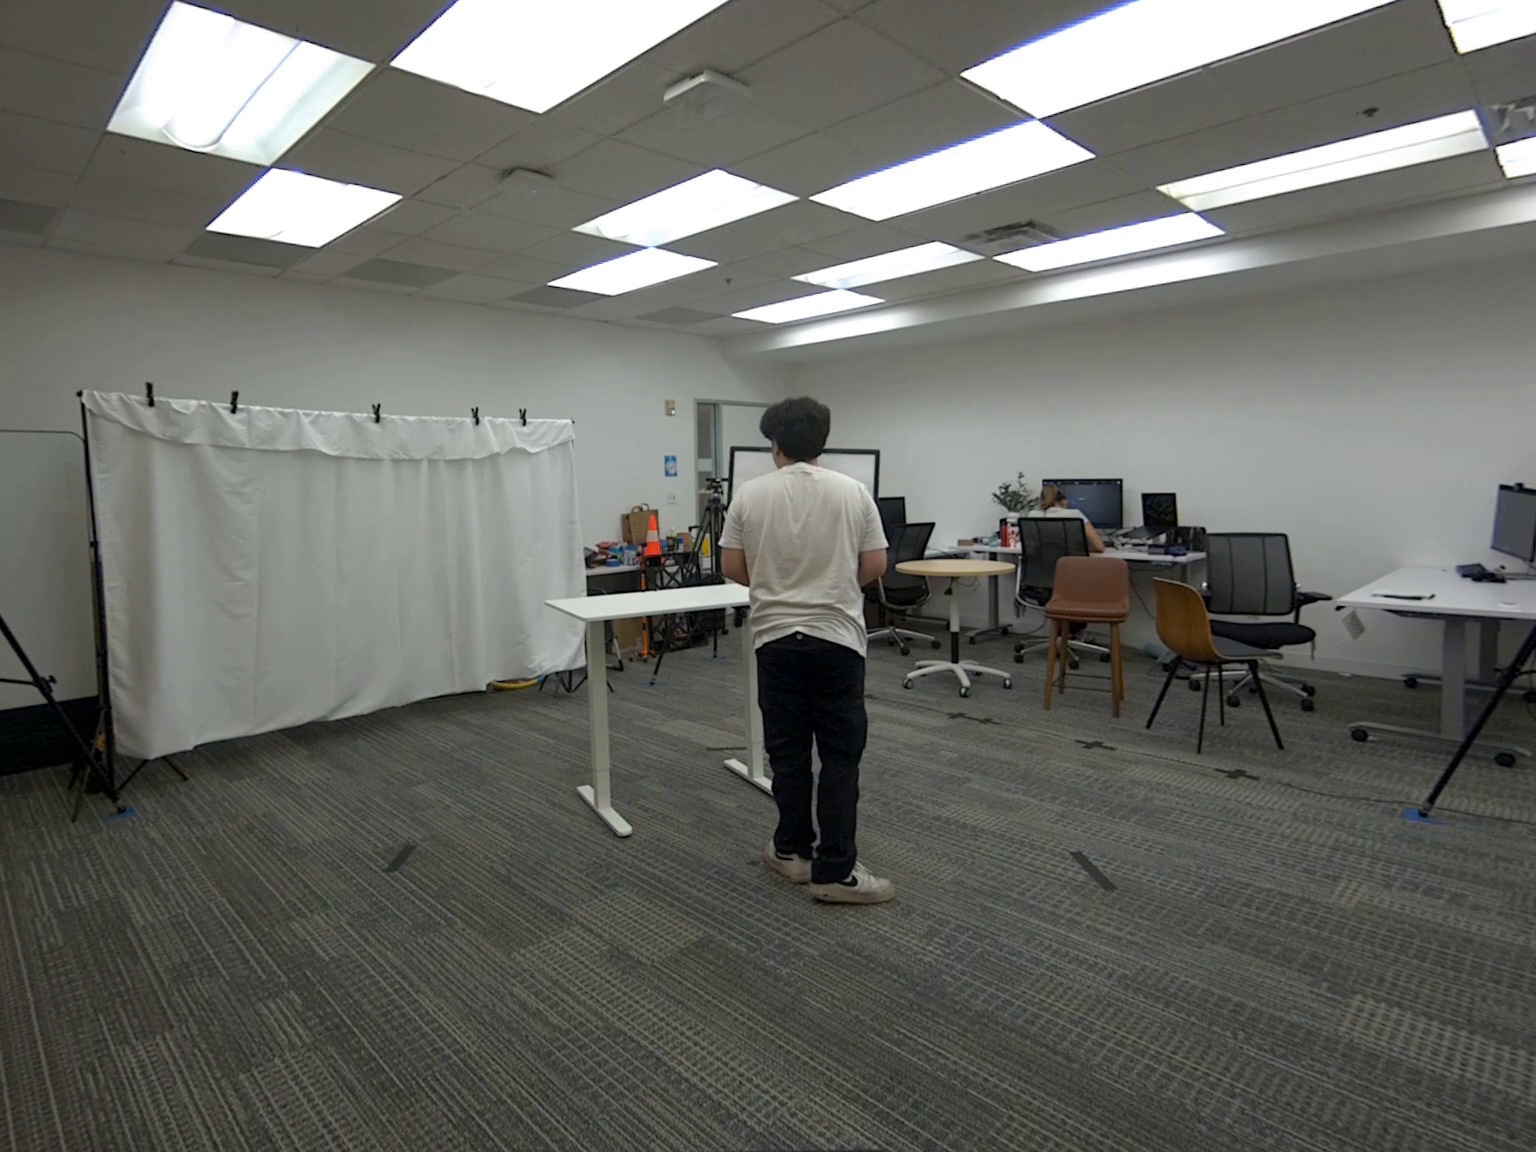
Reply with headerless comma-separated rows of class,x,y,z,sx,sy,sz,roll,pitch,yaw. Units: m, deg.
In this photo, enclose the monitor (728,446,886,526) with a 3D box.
monitor,0.135,-0.209,3.236,0.571,0.554,0.208,2,0,10
